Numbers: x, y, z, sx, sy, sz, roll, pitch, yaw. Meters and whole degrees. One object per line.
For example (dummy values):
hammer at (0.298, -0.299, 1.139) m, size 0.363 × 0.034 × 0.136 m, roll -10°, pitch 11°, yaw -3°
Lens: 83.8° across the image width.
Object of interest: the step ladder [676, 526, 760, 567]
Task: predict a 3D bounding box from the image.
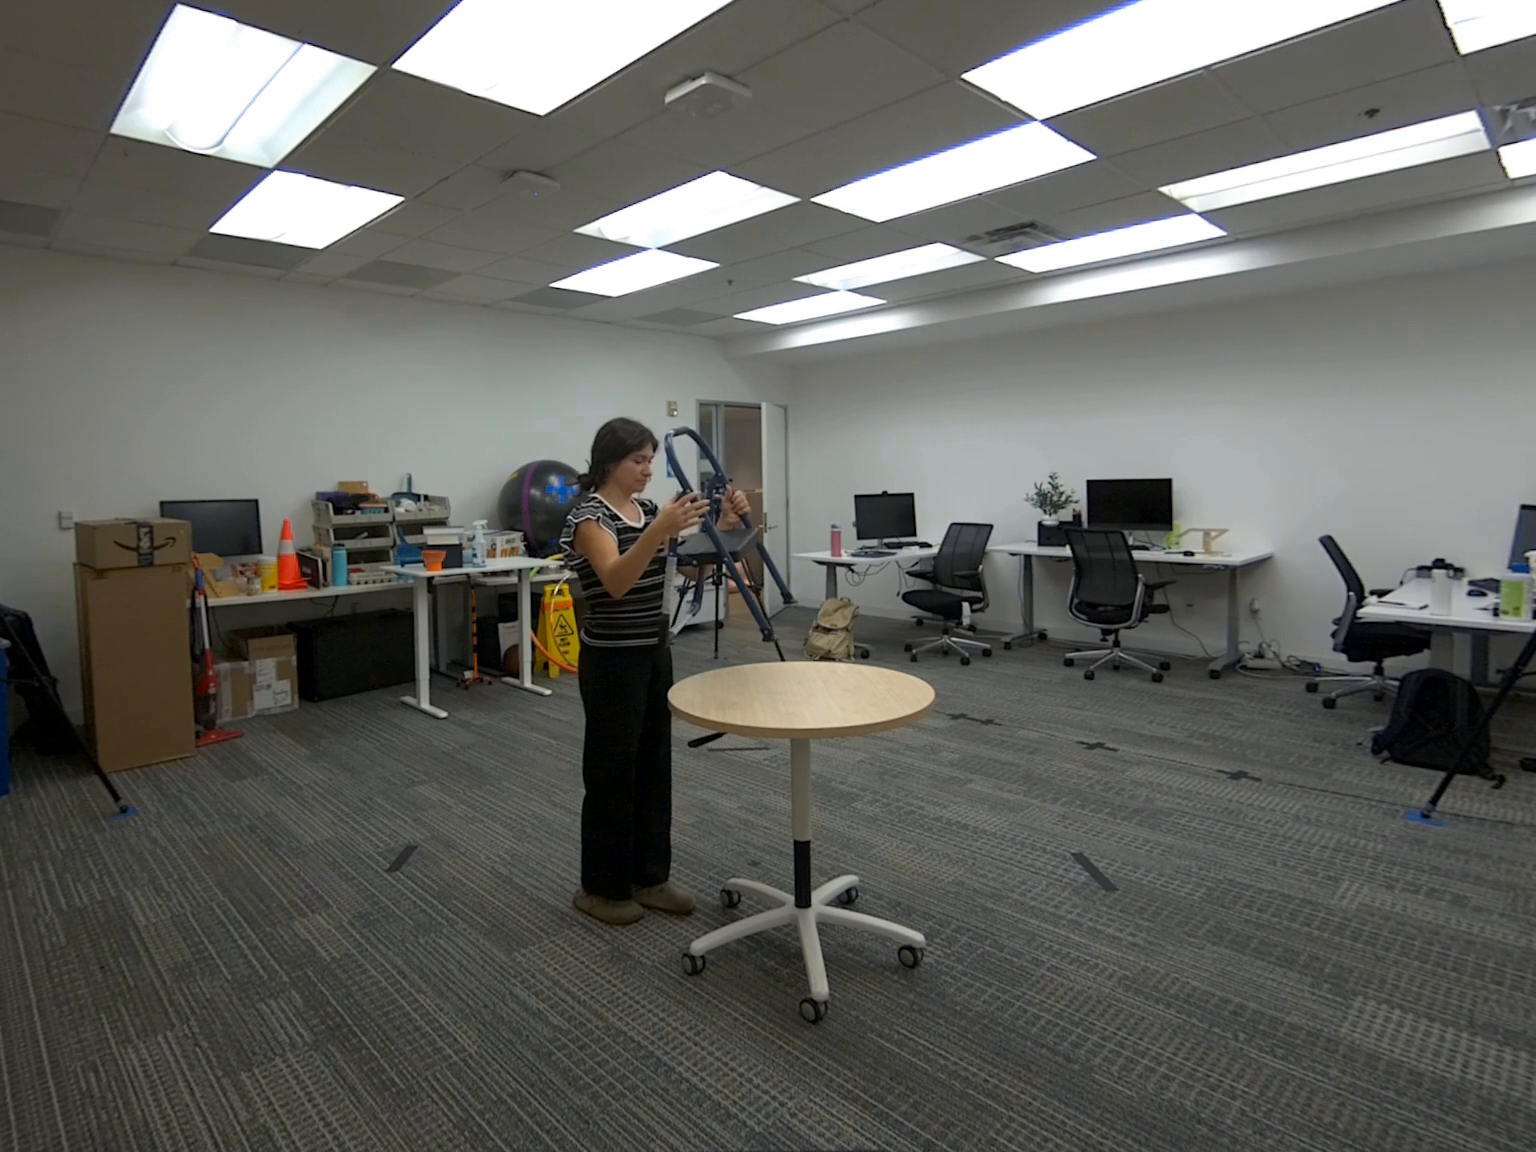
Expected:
step ladder at (-0.150, -0.143, 2.551) m, size 0.353 × 0.600 × 0.431 m, roll -6°, pitch 11°, yaw 11°
